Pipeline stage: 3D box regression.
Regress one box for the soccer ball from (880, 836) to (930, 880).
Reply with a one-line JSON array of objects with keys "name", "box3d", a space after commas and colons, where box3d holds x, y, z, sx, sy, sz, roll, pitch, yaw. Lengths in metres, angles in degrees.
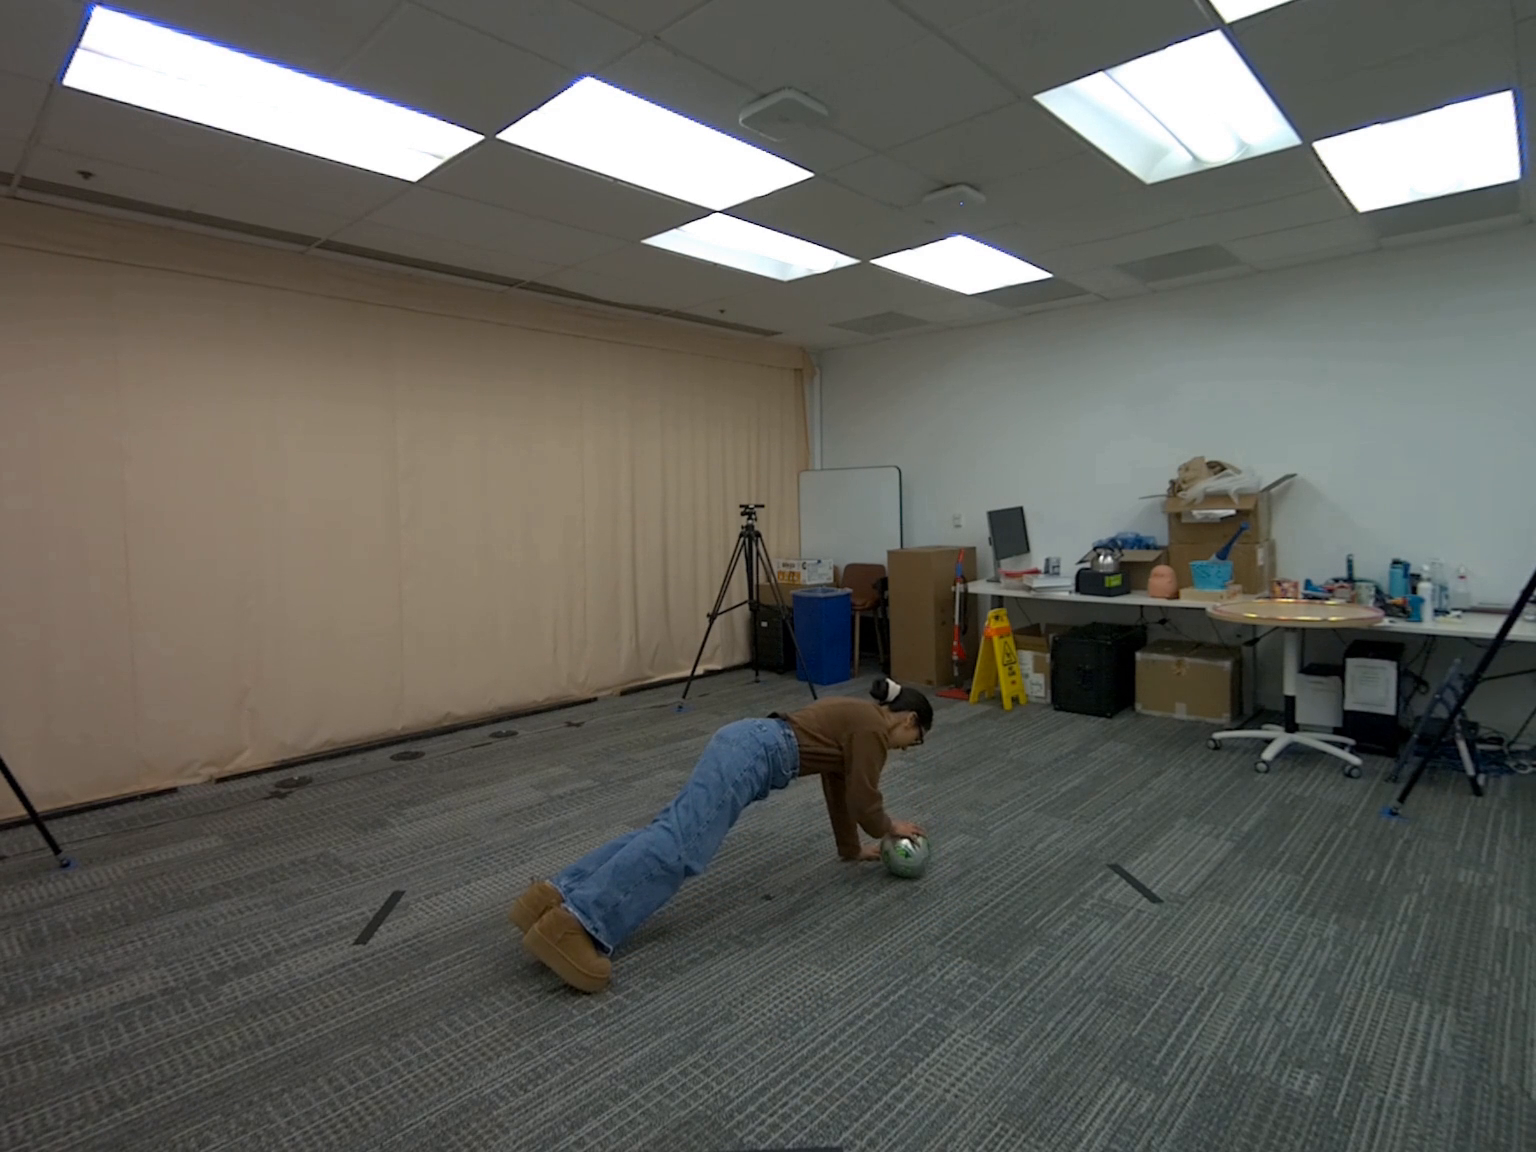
[{"name": "soccer ball", "box3d": [0.529, 1.029, 3.122, 0.187, 0.187, 0.188, -1, 4, -2]}]
